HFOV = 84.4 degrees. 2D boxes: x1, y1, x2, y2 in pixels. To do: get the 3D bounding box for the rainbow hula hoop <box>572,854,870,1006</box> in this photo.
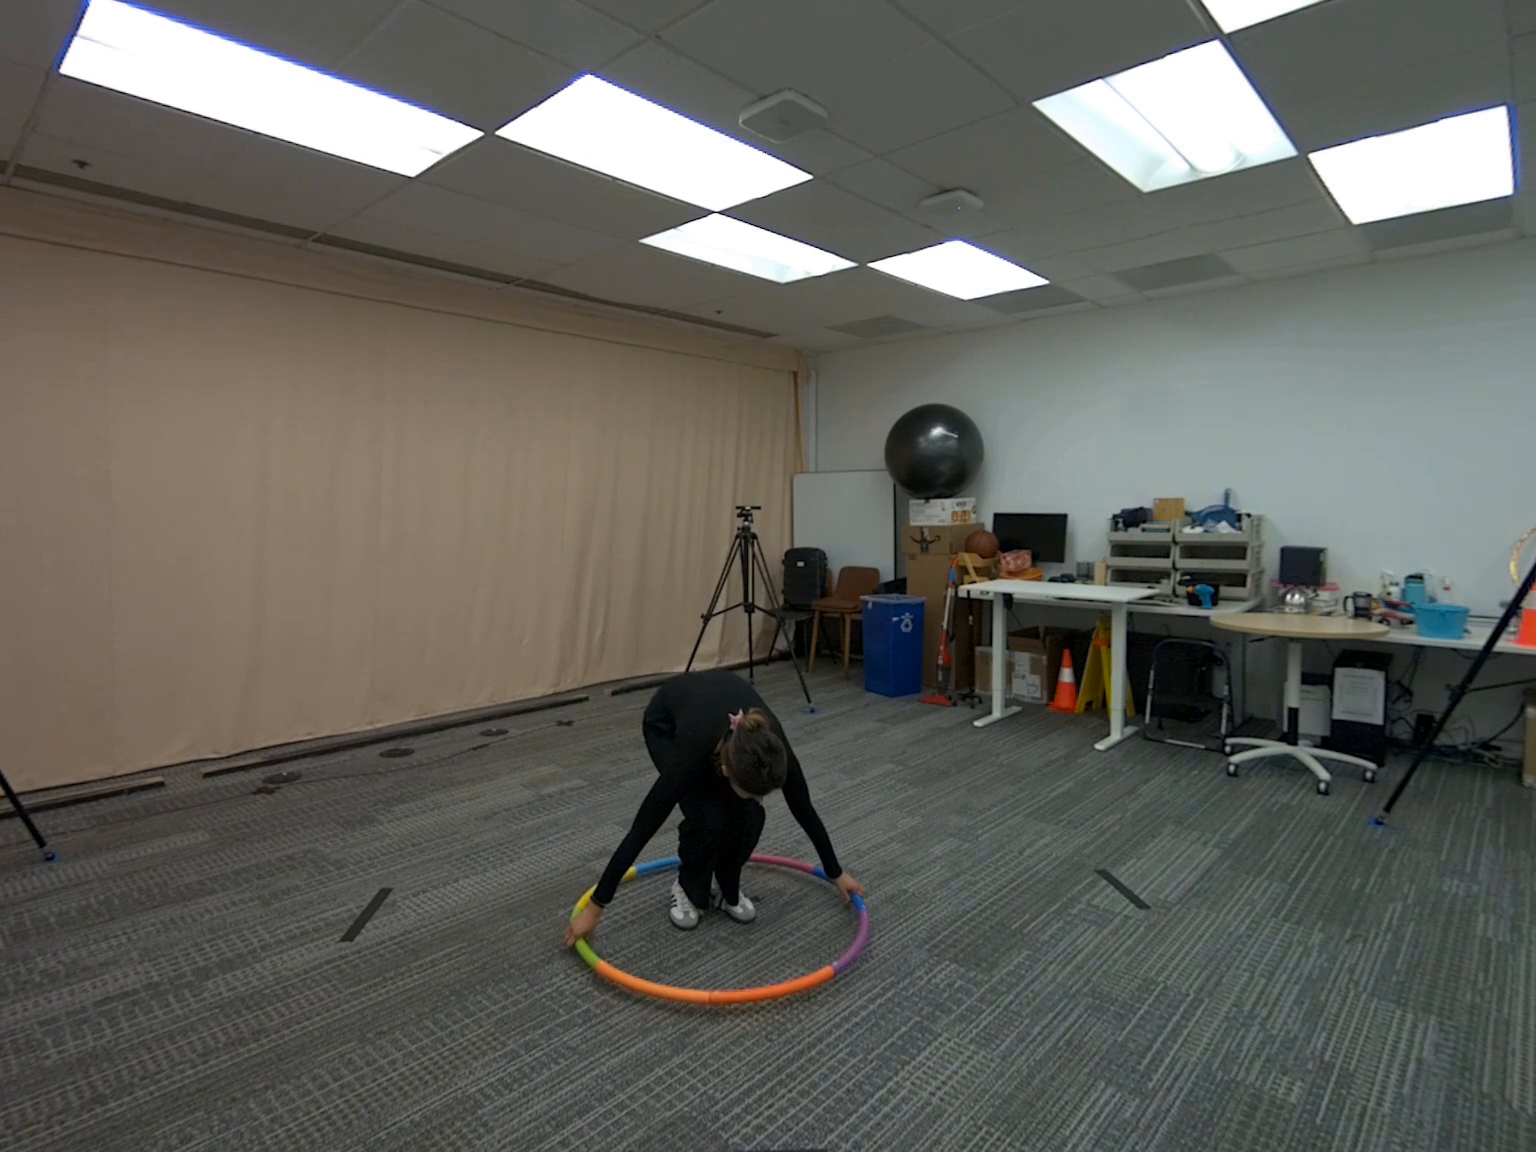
[{"bbox_3d":[-0.158,1.108,2.783,0.978,0.035,0.982,-1,4,-2],"label":"rainbow hula hoop"}]
